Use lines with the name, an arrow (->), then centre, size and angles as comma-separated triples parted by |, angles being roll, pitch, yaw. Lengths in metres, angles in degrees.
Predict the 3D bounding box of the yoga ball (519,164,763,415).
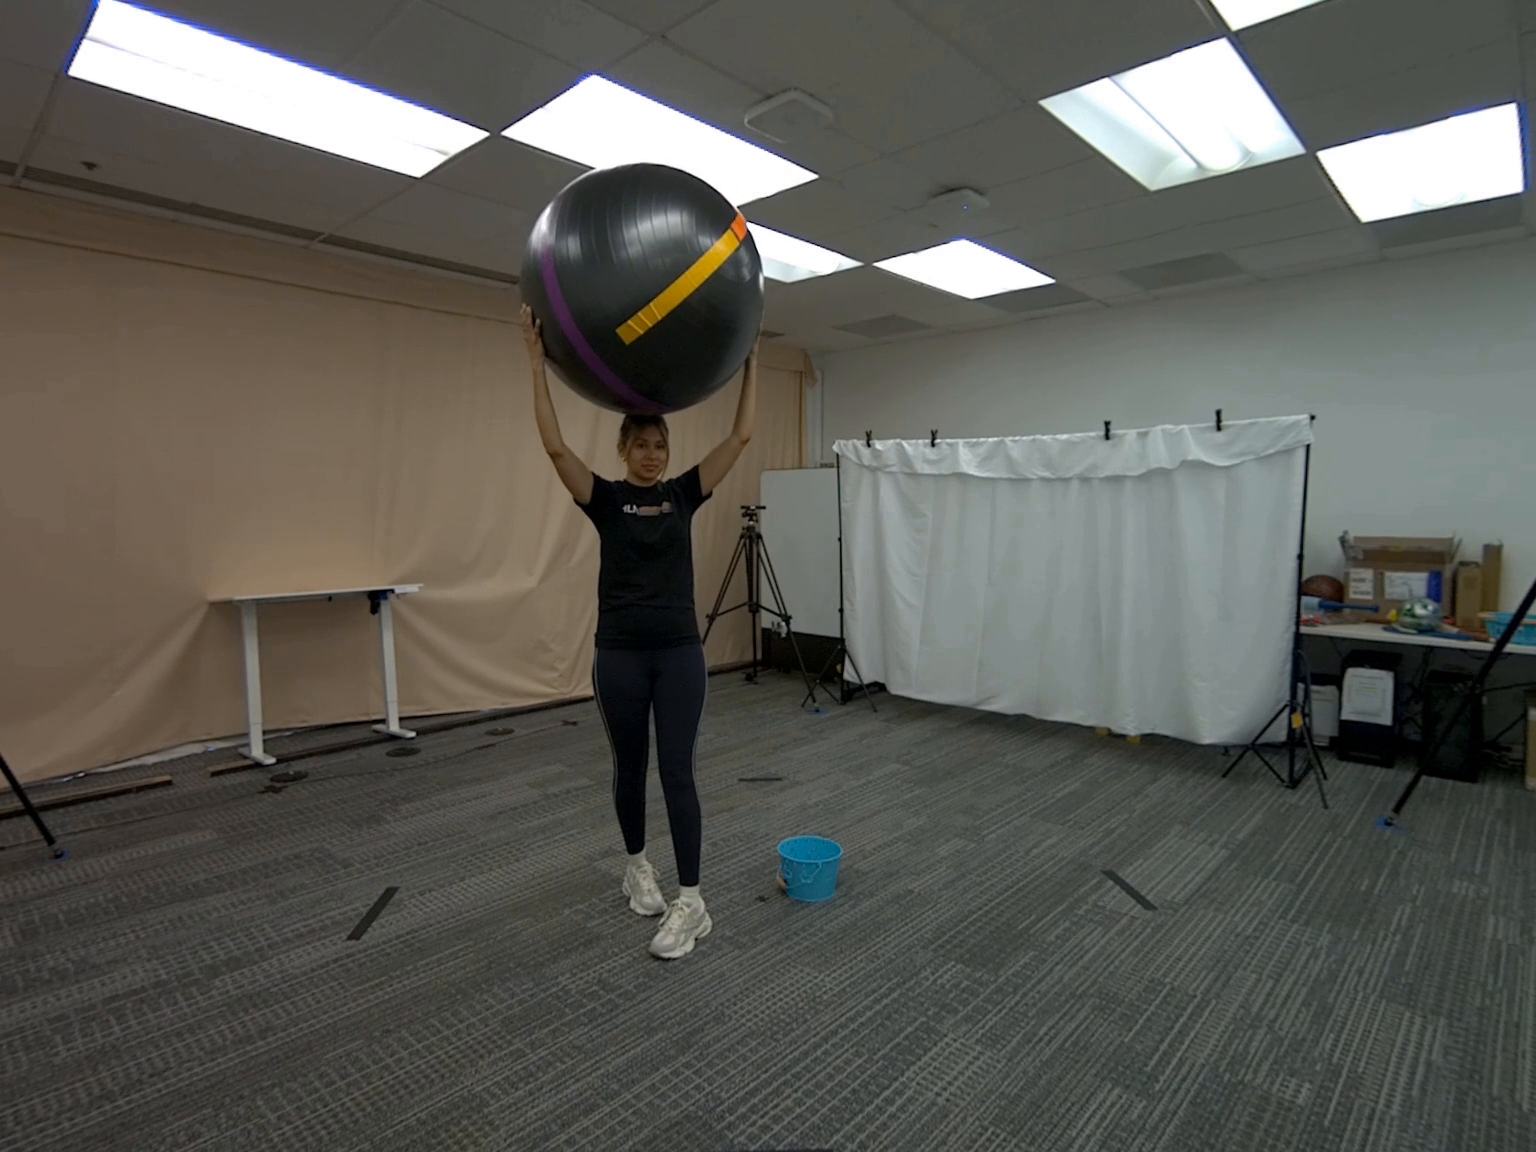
yoga ball -> -0.386, -0.880, 2.627 | 0.757, 0.756, 0.760 | 0, 4, -2
